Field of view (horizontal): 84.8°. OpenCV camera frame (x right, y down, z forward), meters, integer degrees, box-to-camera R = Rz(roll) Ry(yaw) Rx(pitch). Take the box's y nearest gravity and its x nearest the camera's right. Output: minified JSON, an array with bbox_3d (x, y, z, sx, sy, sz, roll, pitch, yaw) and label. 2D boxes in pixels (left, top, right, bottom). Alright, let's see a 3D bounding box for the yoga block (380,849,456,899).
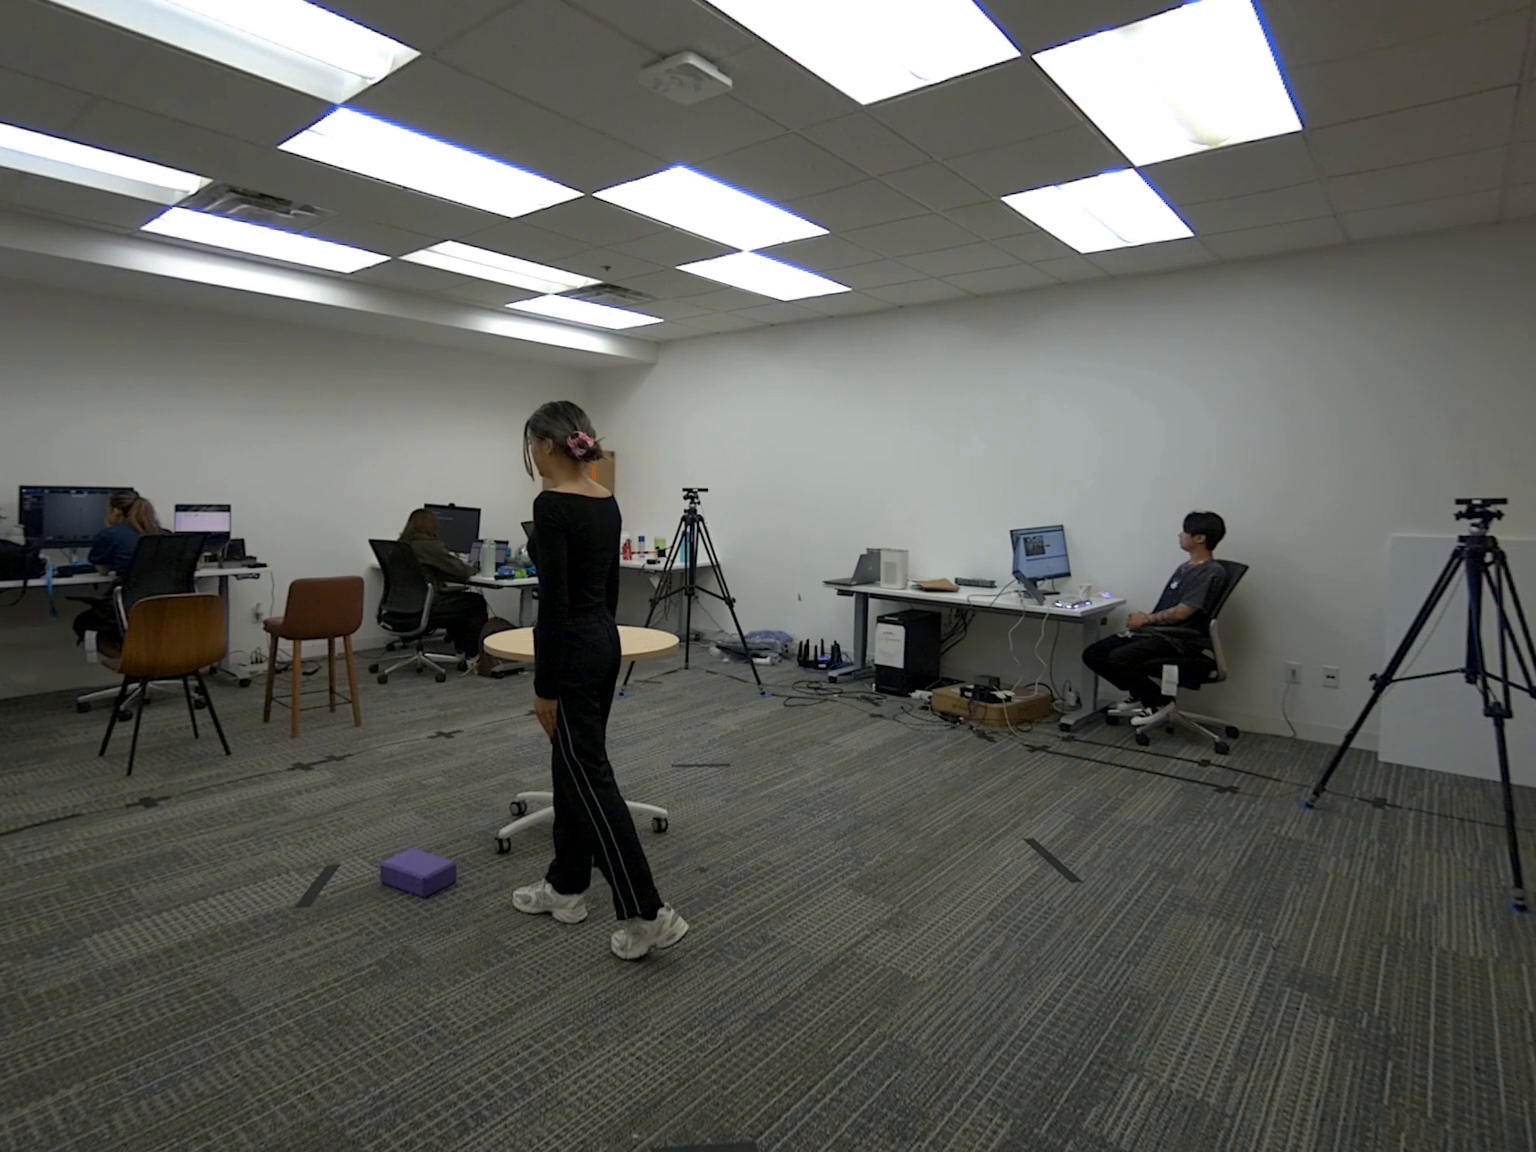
[{"bbox_3d":[-1.230,1.029,2.962,0.236,0.076,0.145,3,6,29],"label":"yoga block"}]
